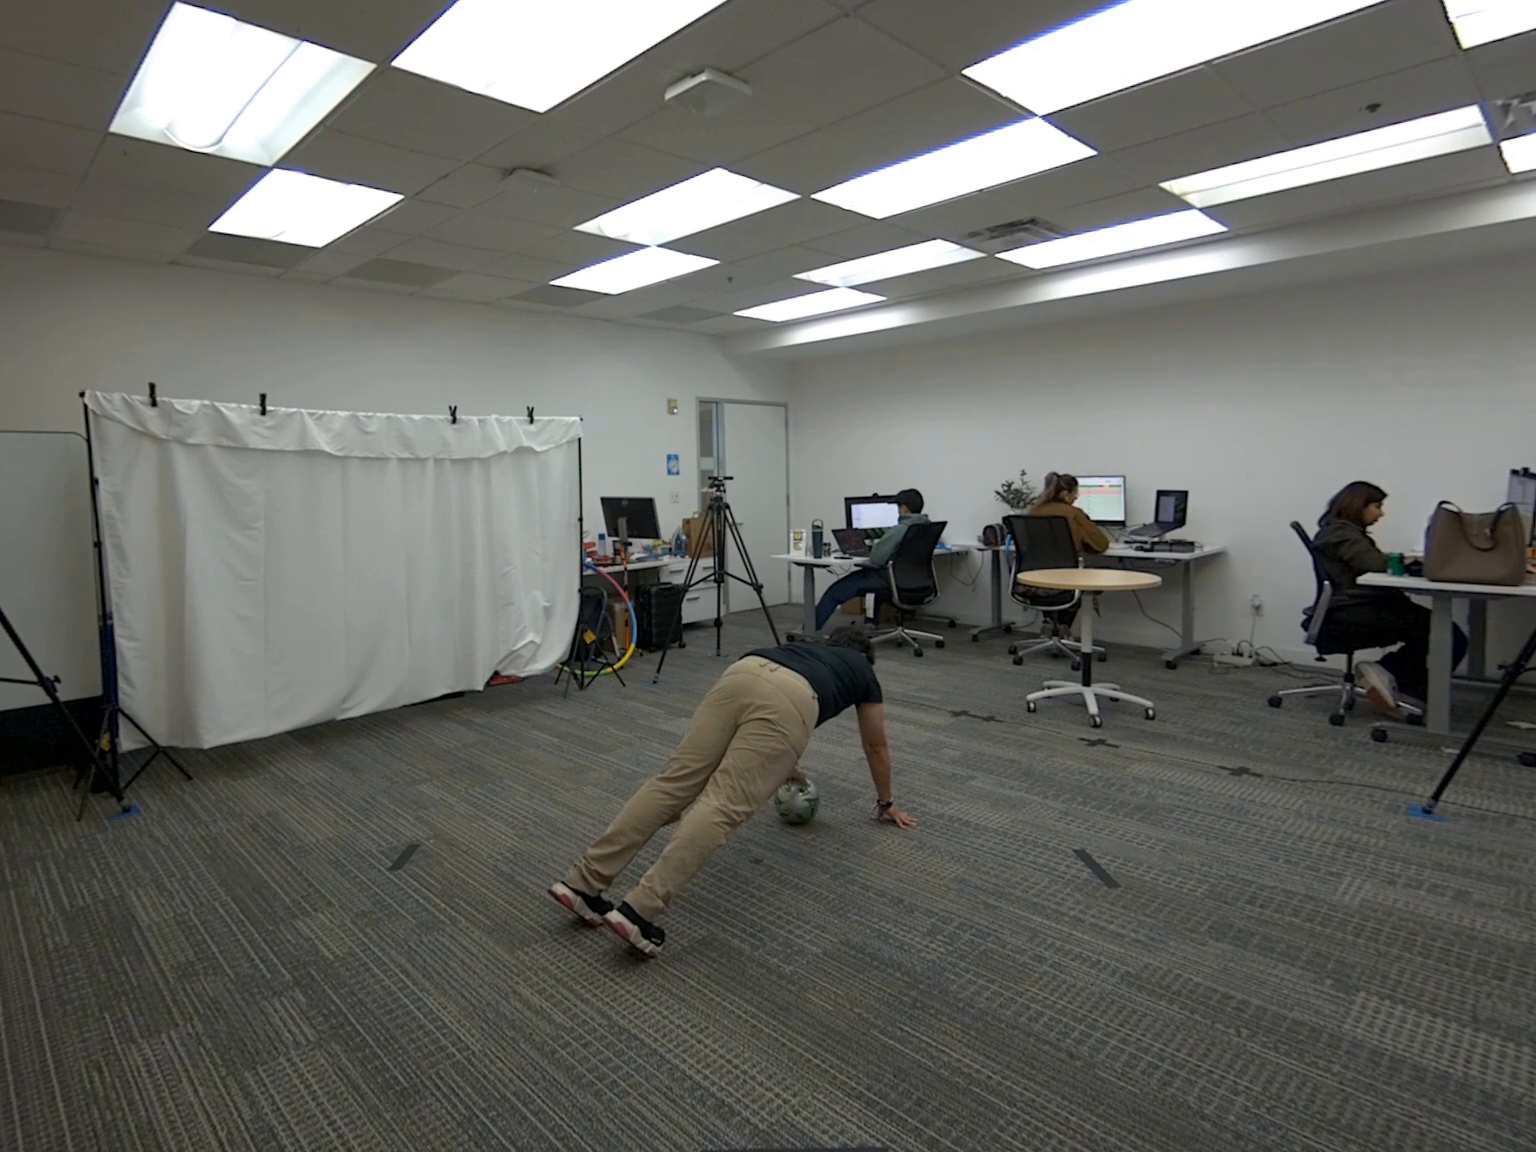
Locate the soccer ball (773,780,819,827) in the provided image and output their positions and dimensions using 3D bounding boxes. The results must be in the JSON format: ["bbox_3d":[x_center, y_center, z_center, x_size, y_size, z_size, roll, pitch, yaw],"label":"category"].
[{"bbox_3d":[0.120,0.904,3.458,0.187,0.187,0.188,-1,5,-2],"label":"soccer ball"}]
